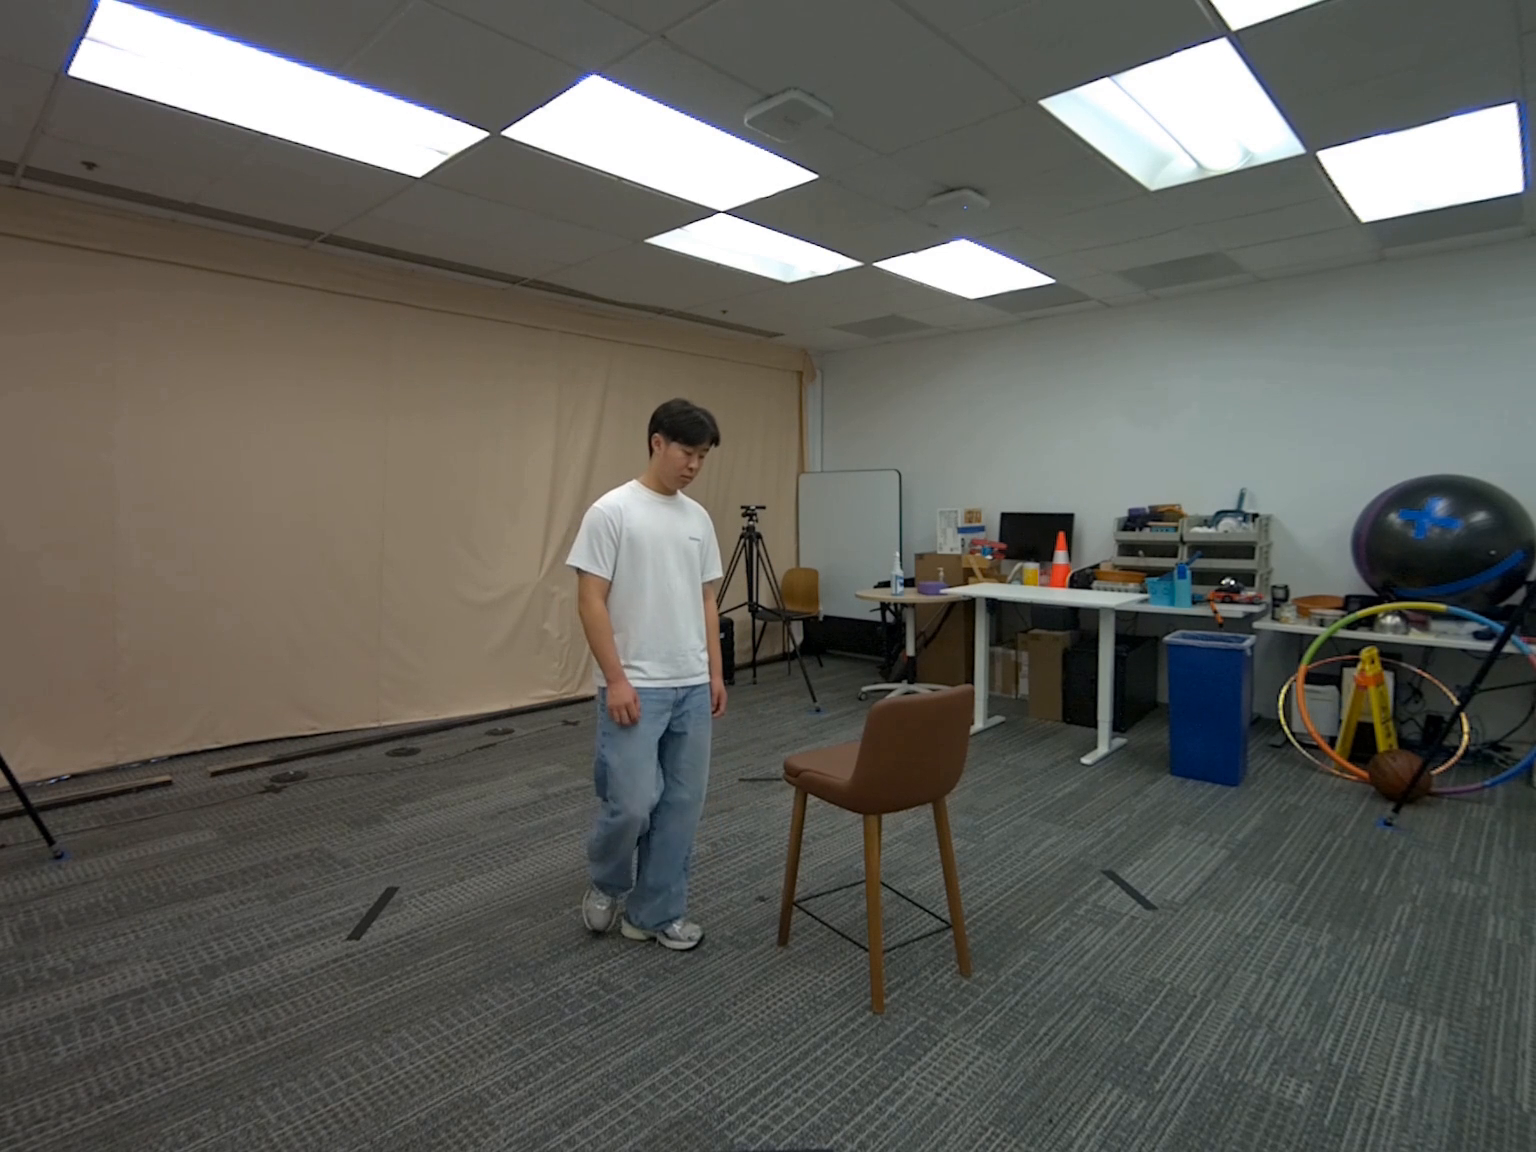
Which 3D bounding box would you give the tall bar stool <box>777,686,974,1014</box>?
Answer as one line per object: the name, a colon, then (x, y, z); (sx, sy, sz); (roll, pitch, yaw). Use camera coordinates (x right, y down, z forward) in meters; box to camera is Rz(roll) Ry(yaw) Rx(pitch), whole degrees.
tall bar stool: (0.332, 0.742, 2.560); (0.443, 0.887, 0.482); (-2, 5, -34)
